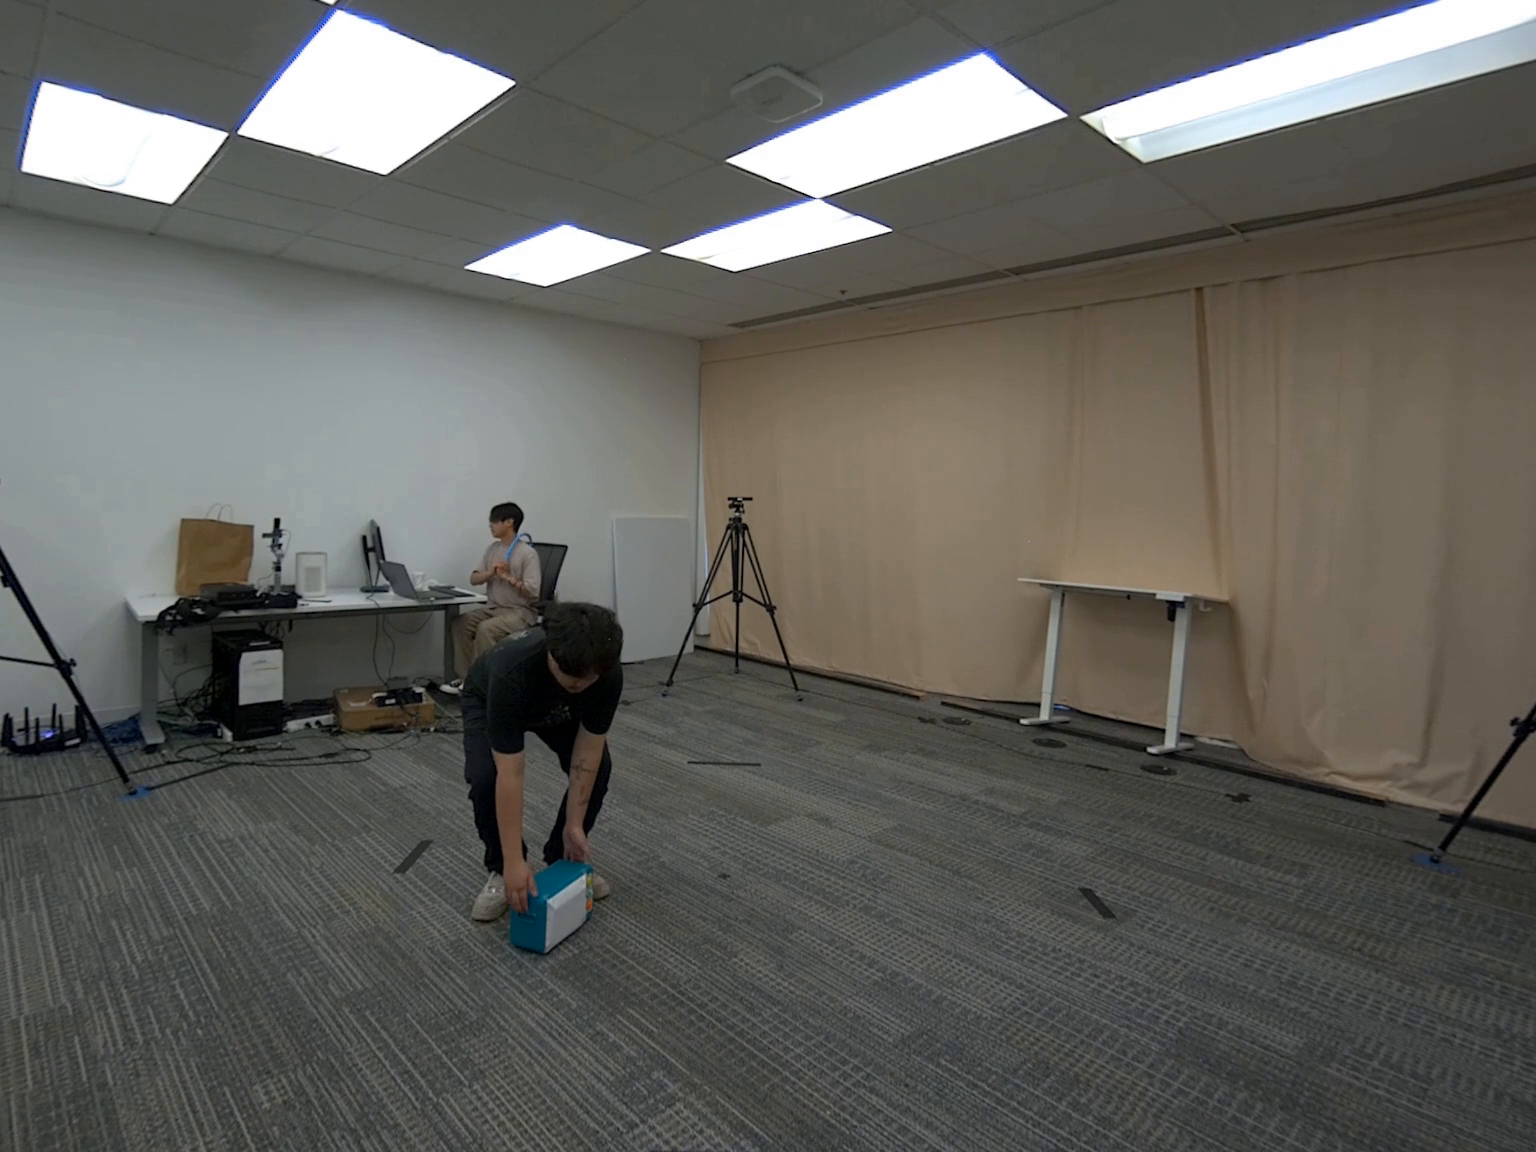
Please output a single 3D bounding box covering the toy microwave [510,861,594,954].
[{"bbox_3d":[-0.684,1.045,2.665,0.155,0.184,0.282,1,4,22],"label":"toy microwave"}]
